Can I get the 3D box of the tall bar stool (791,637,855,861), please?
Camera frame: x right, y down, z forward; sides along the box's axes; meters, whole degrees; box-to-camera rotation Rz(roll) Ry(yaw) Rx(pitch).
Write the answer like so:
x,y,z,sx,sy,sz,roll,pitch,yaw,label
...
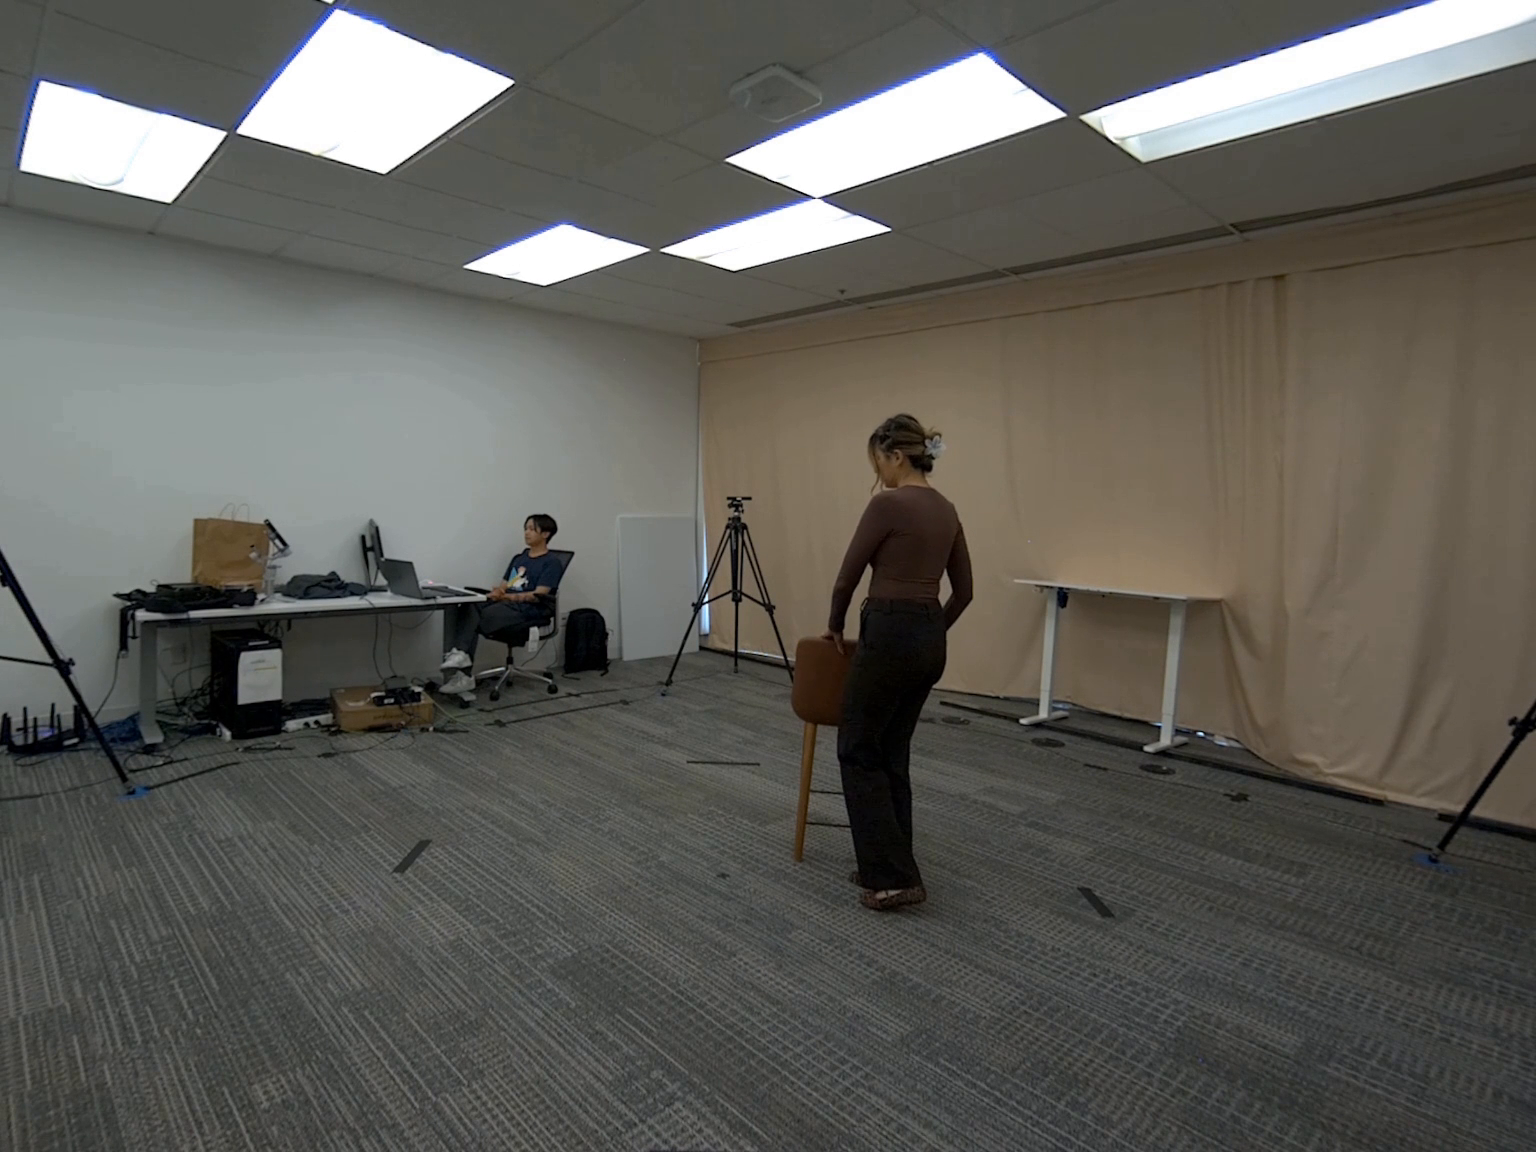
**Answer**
x,y,z,sx,sy,sz,roll,pitch,yaw,label
0.320,0.654,3.399,0.460,0.886,0.465,2,5,9,tall bar stool
